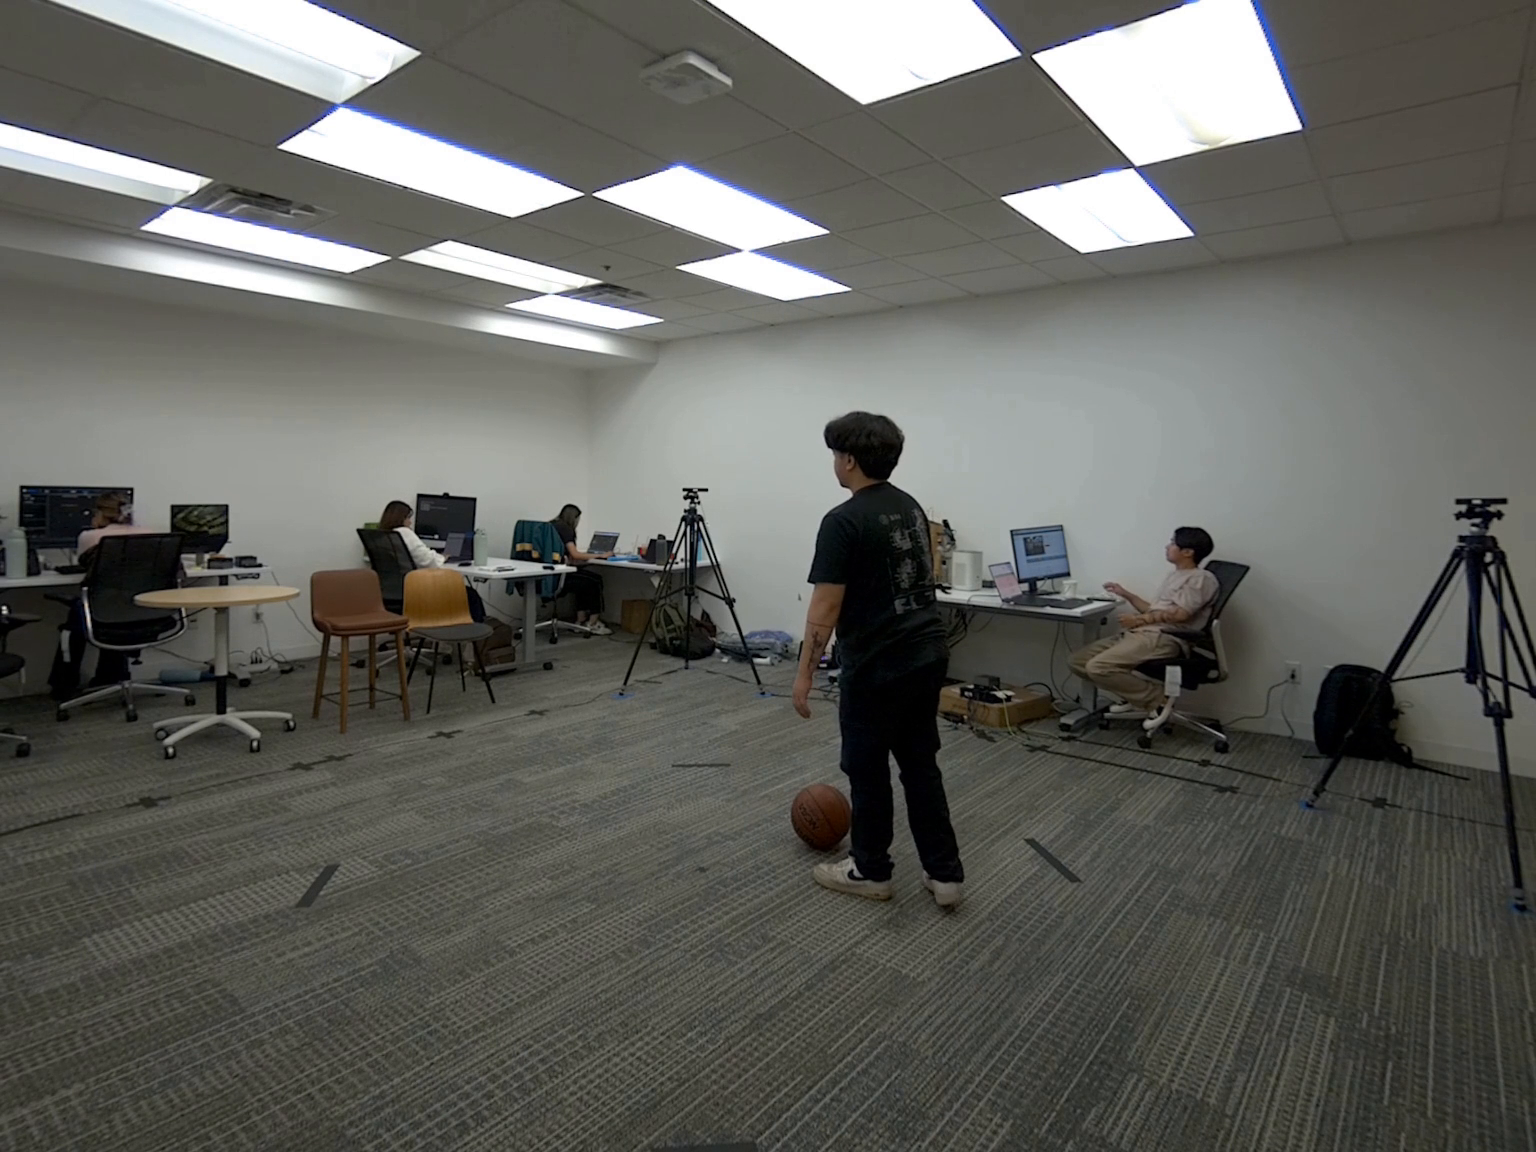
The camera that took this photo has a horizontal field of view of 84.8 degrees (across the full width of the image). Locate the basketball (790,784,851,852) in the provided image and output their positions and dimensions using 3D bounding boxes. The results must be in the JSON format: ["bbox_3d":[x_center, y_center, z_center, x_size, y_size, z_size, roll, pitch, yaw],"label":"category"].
[{"bbox_3d":[0.202,0.934,3.337,0.235,0.235,0.237,1,4,-2],"label":"basketball"}]
